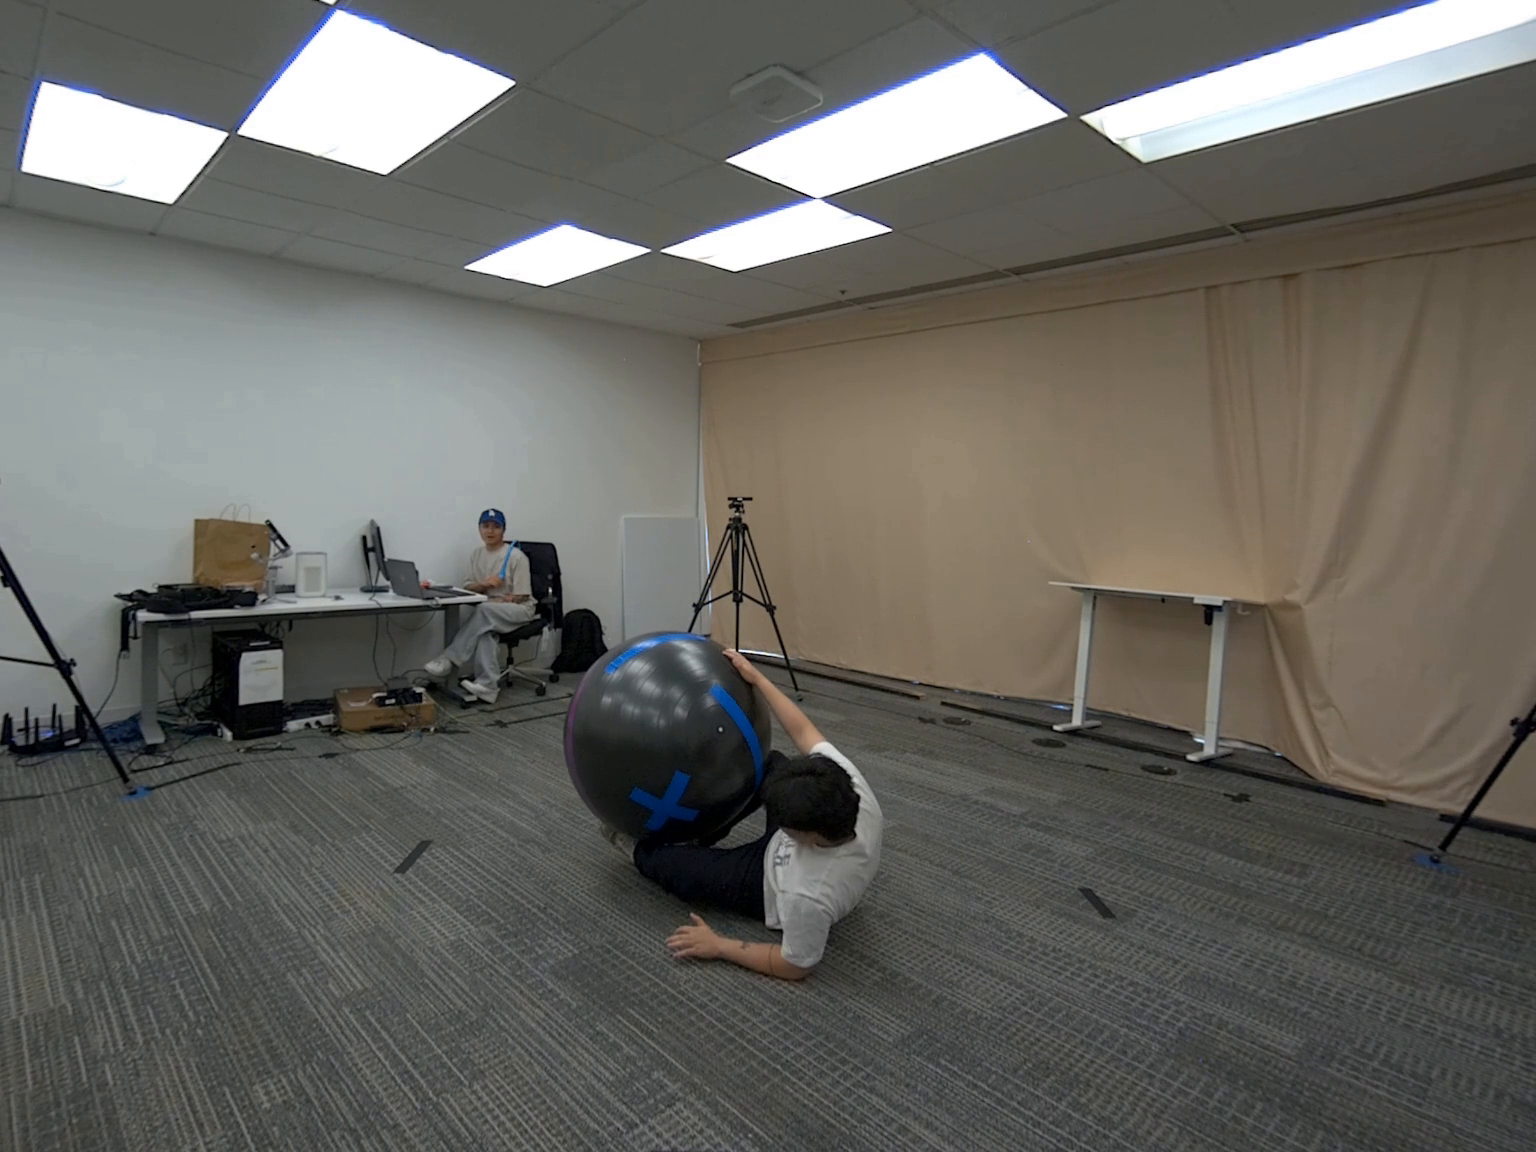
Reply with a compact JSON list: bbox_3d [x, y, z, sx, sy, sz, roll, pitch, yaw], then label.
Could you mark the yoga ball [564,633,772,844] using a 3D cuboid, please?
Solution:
[{"bbox_3d":[-0.376,0.579,3.091,0.757,0.756,0.760,1,4,-1],"label":"yoga ball"}]
